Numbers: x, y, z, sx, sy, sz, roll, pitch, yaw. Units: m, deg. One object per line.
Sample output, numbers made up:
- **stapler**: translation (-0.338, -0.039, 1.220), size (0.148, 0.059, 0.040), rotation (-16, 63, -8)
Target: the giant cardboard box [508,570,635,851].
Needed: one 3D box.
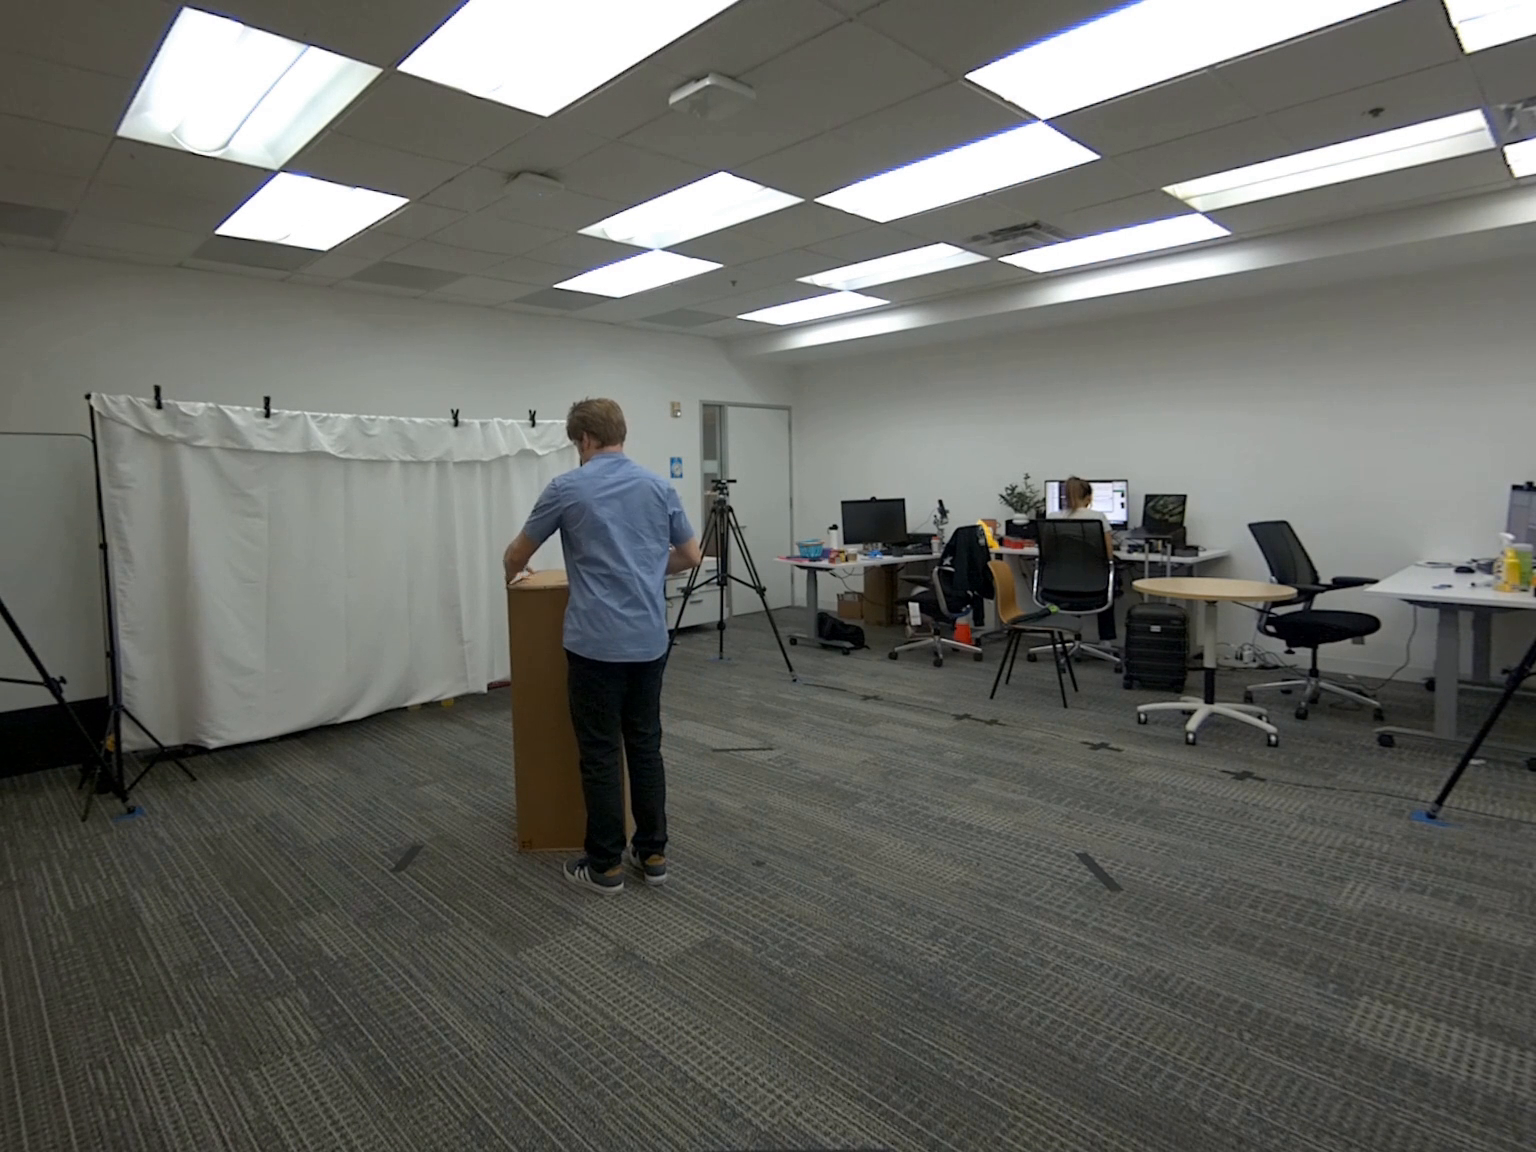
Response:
- **giant cardboard box**: translation (-0.779, 0.509, 3.501), size (0.426, 1.022, 0.580), rotation (-1, 4, -1)
